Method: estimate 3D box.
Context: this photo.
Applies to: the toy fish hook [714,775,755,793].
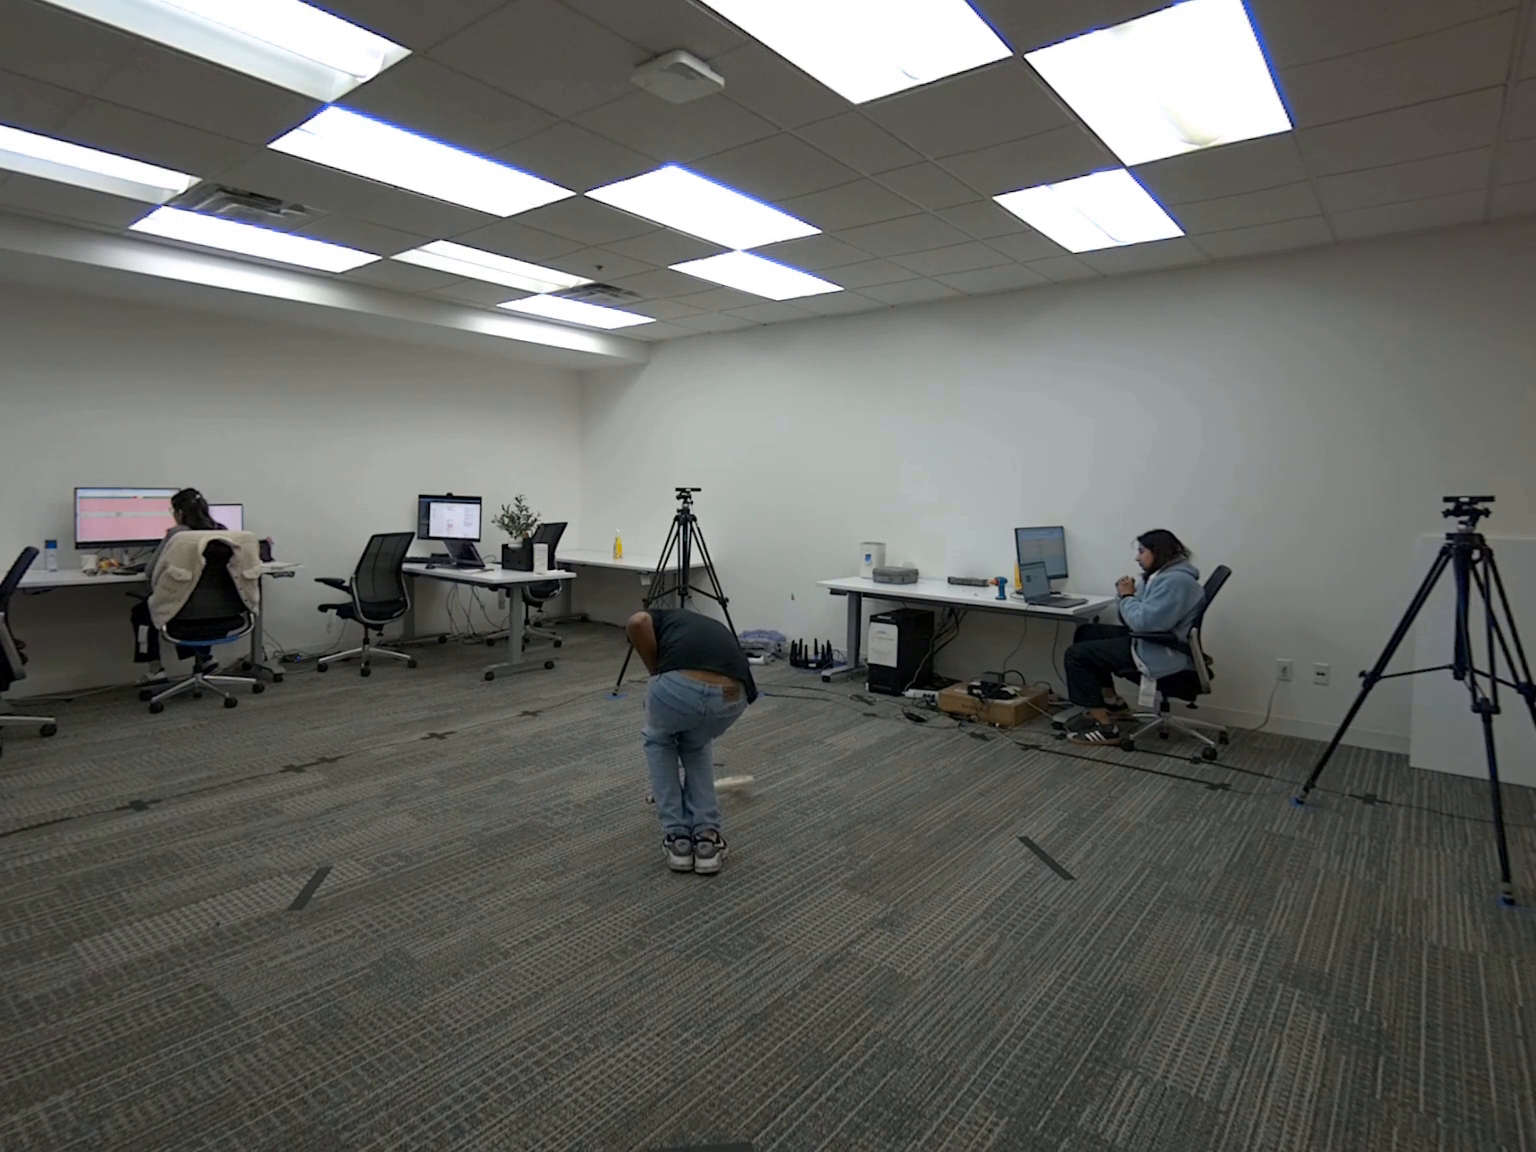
[{"bbox_3d":[-0.325,0.944,3.790,0.497,0.049,0.225,-6,-13,-20],"label":"toy fish hook"}]
